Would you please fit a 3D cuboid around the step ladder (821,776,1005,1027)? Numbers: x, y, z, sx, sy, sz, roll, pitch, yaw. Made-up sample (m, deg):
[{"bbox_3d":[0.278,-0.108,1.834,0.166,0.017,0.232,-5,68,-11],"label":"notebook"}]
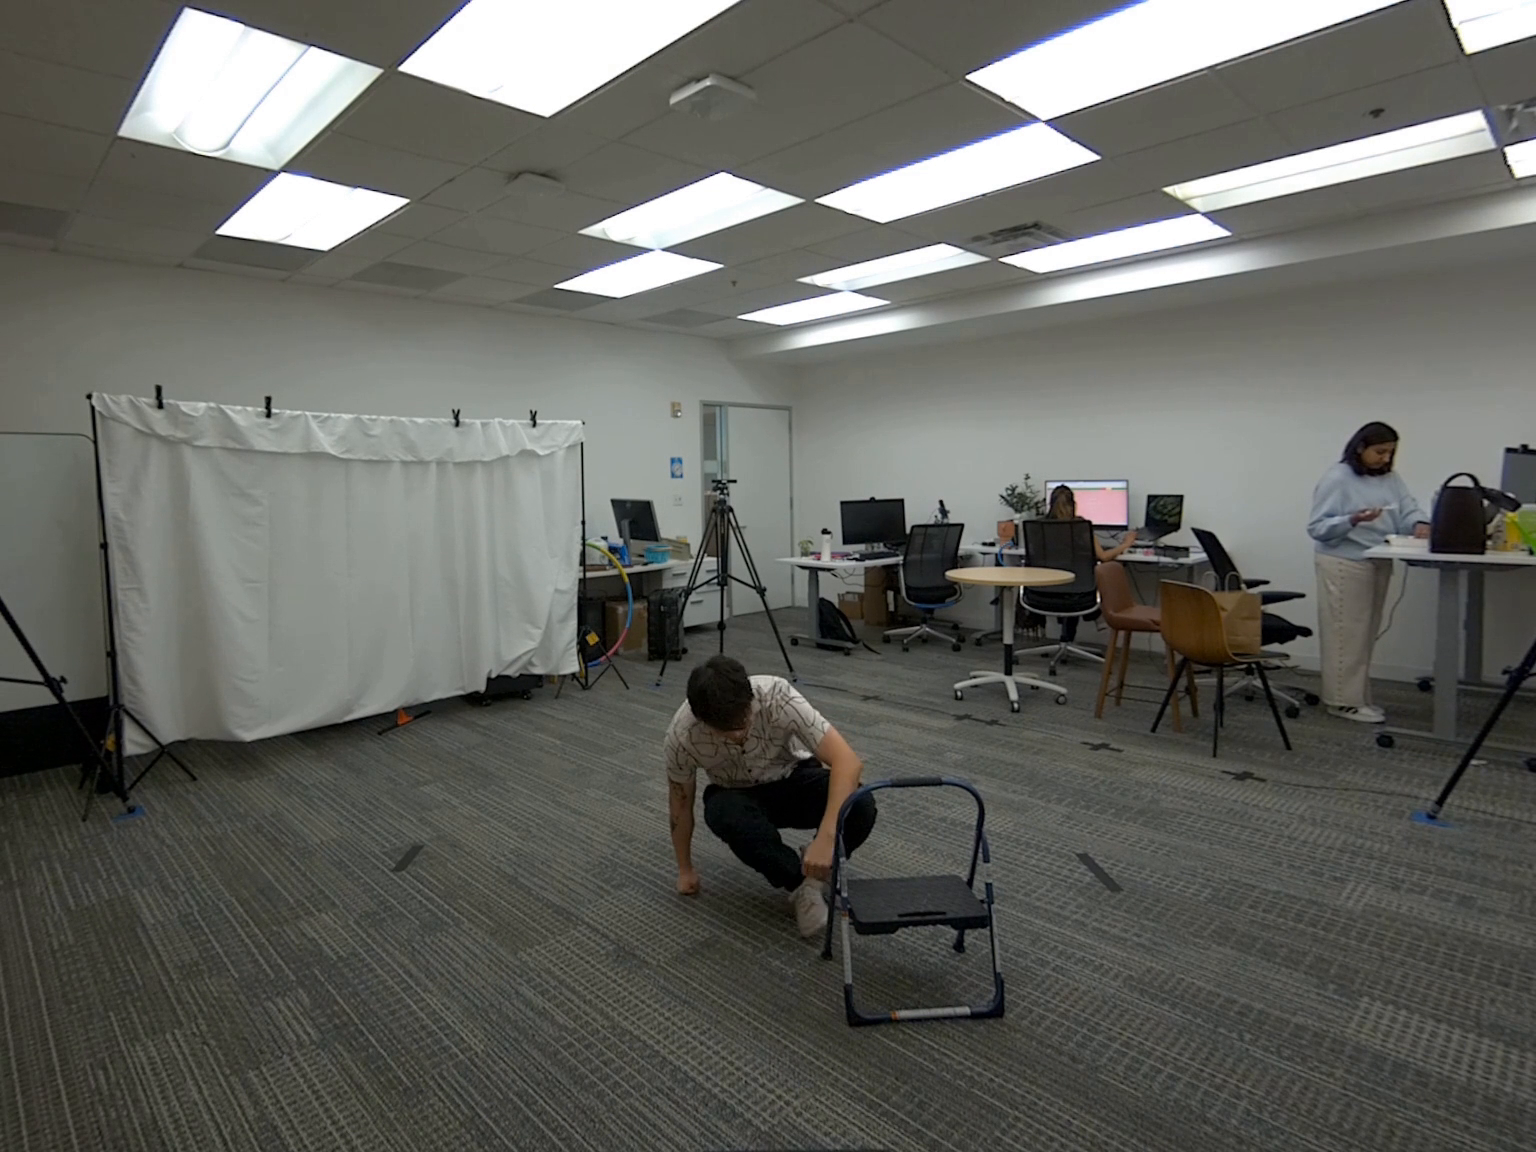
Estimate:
[{"bbox_3d":[0.391,0.828,2.337,0.428,0.604,0.352,-1,4,-6],"label":"step ladder"}]
